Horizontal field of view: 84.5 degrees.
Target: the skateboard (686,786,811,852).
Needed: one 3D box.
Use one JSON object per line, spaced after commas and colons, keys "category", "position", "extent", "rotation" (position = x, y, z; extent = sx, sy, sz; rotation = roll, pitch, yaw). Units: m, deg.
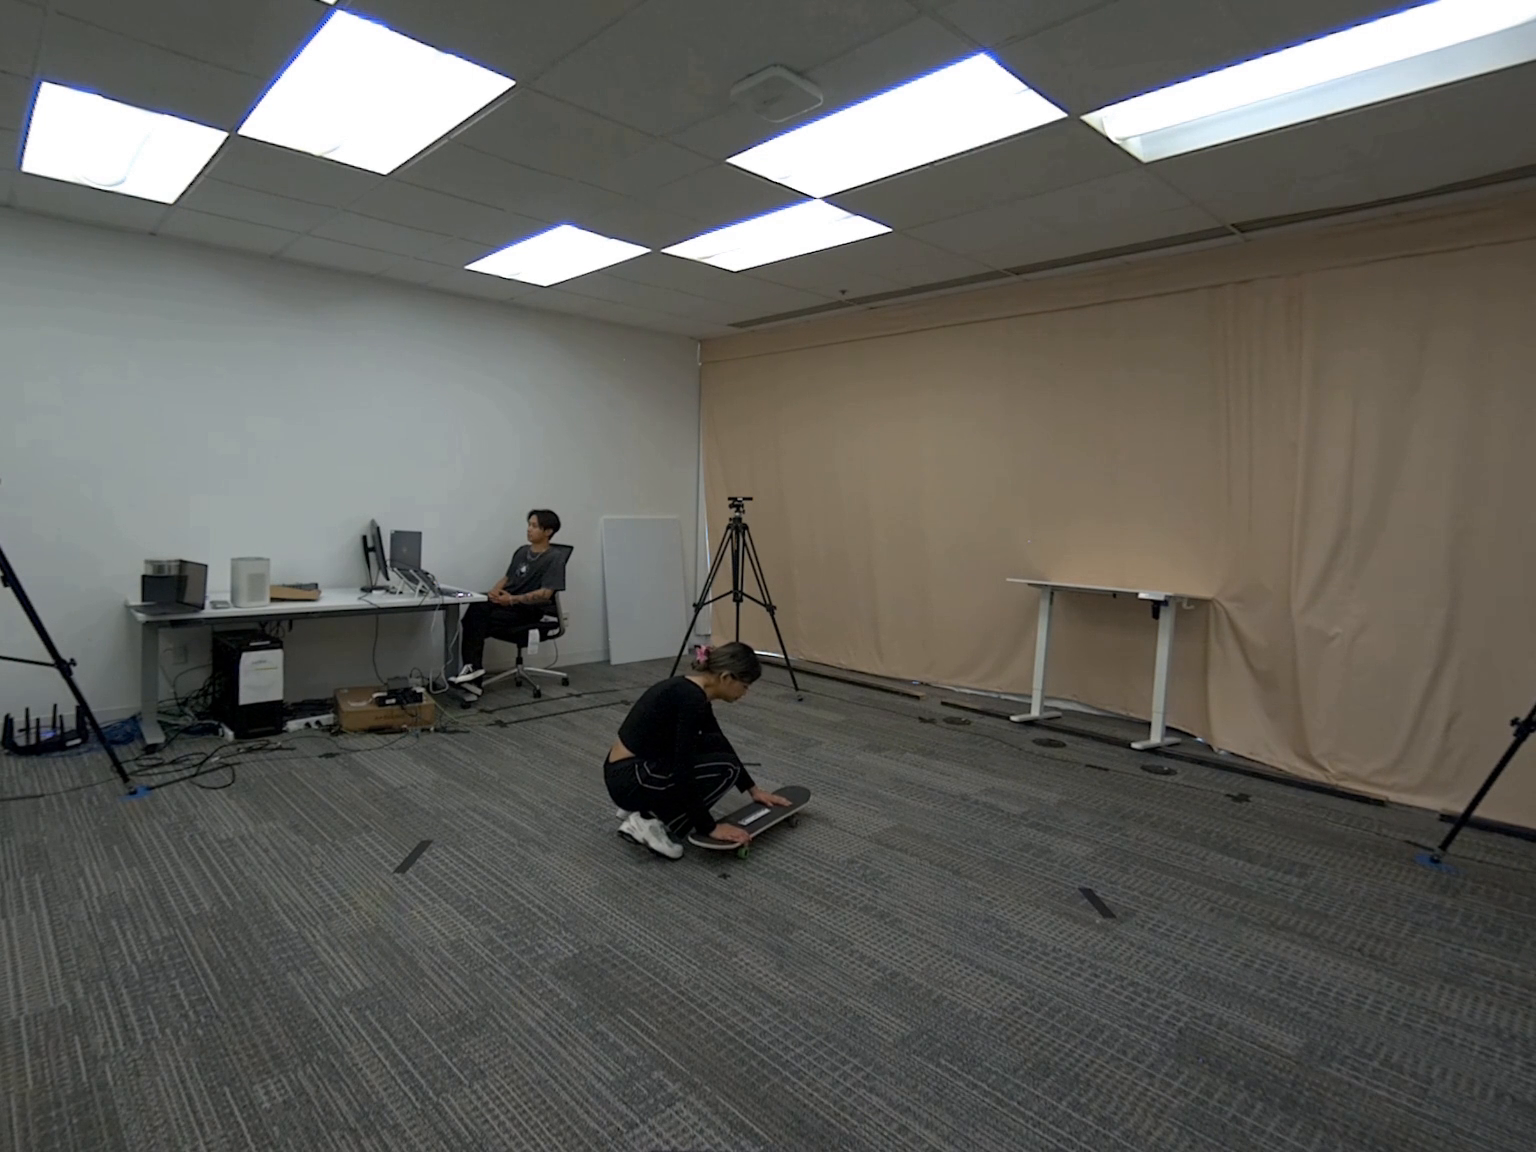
{"category": "skateboard", "position": [-0.068, 1.018, 3.459], "extent": [0.198, 0.110, 0.770], "rotation": [4, 5, 30]}
